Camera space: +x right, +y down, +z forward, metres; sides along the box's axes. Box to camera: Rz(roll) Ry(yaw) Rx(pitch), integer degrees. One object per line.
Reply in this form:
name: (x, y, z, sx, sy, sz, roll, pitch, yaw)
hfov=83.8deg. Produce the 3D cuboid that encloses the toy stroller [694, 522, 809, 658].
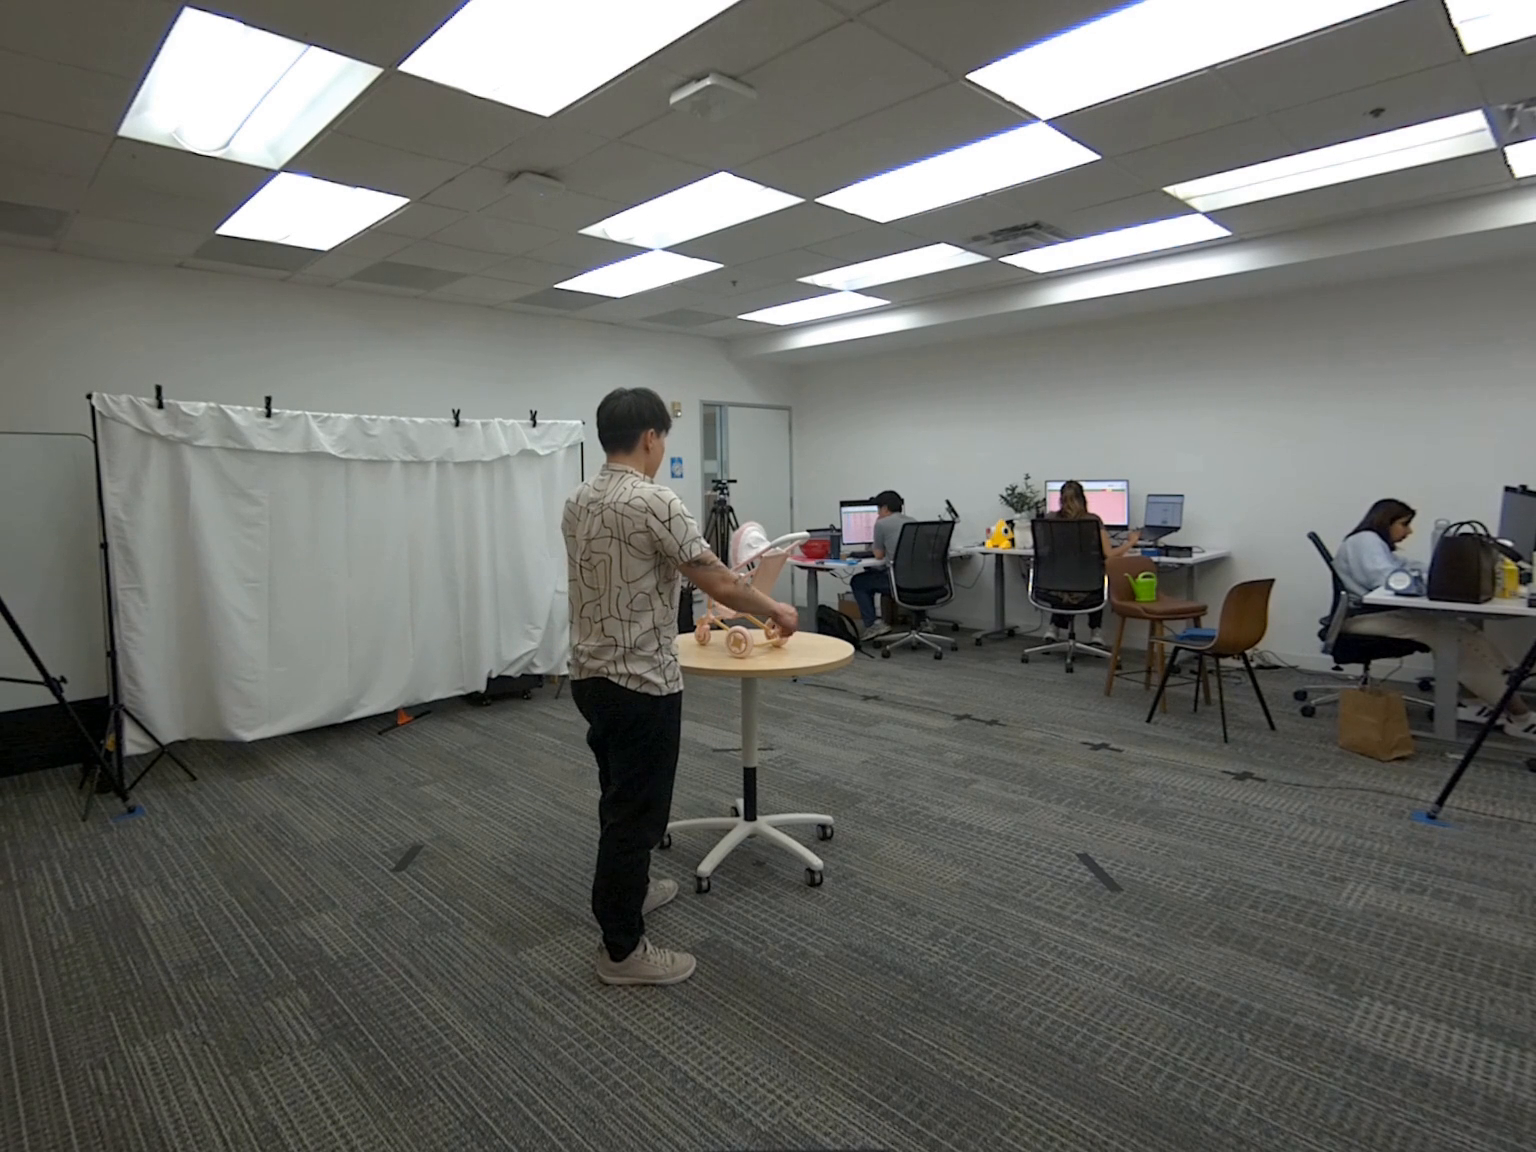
toy stroller: (-0.080, 0.044, 3.064, 0.353, 0.530, 0.274, 23, 17, 34)
